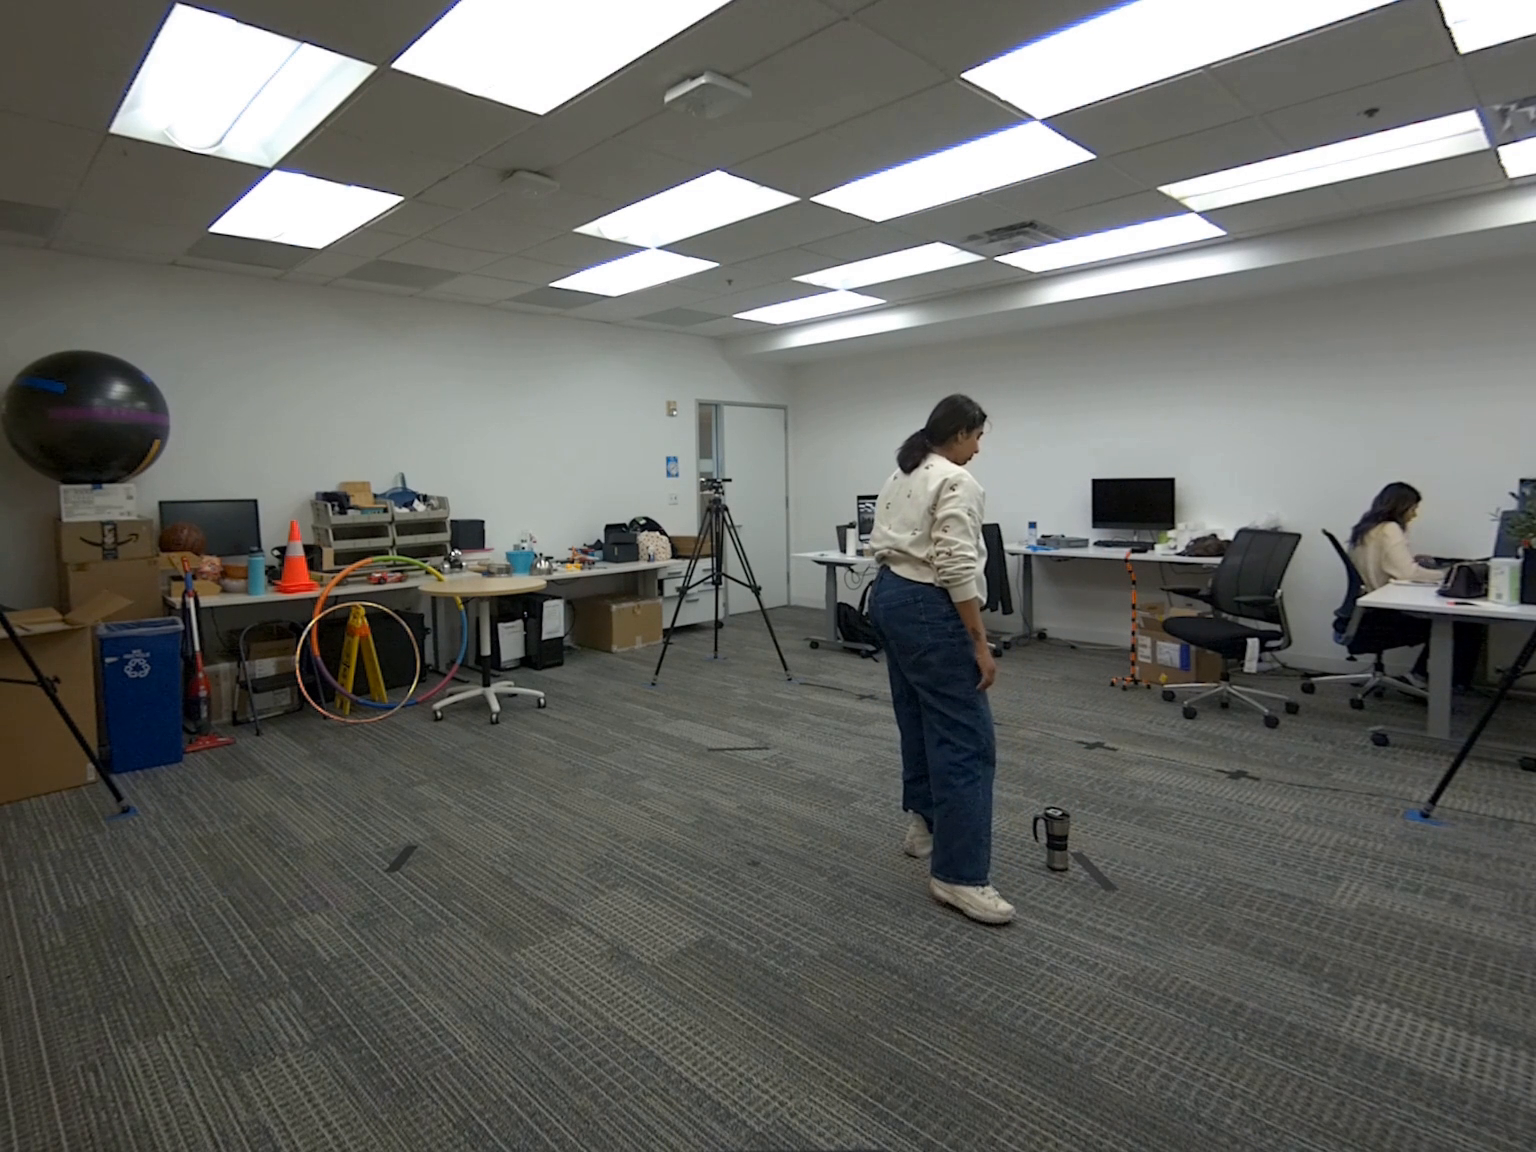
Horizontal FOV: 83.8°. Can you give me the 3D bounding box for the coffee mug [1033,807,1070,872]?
[{"bbox_3d":[1.019,0.936,3.039,0.086,0.201,0.126,-11,12,-43],"label":"coffee mug"}]
